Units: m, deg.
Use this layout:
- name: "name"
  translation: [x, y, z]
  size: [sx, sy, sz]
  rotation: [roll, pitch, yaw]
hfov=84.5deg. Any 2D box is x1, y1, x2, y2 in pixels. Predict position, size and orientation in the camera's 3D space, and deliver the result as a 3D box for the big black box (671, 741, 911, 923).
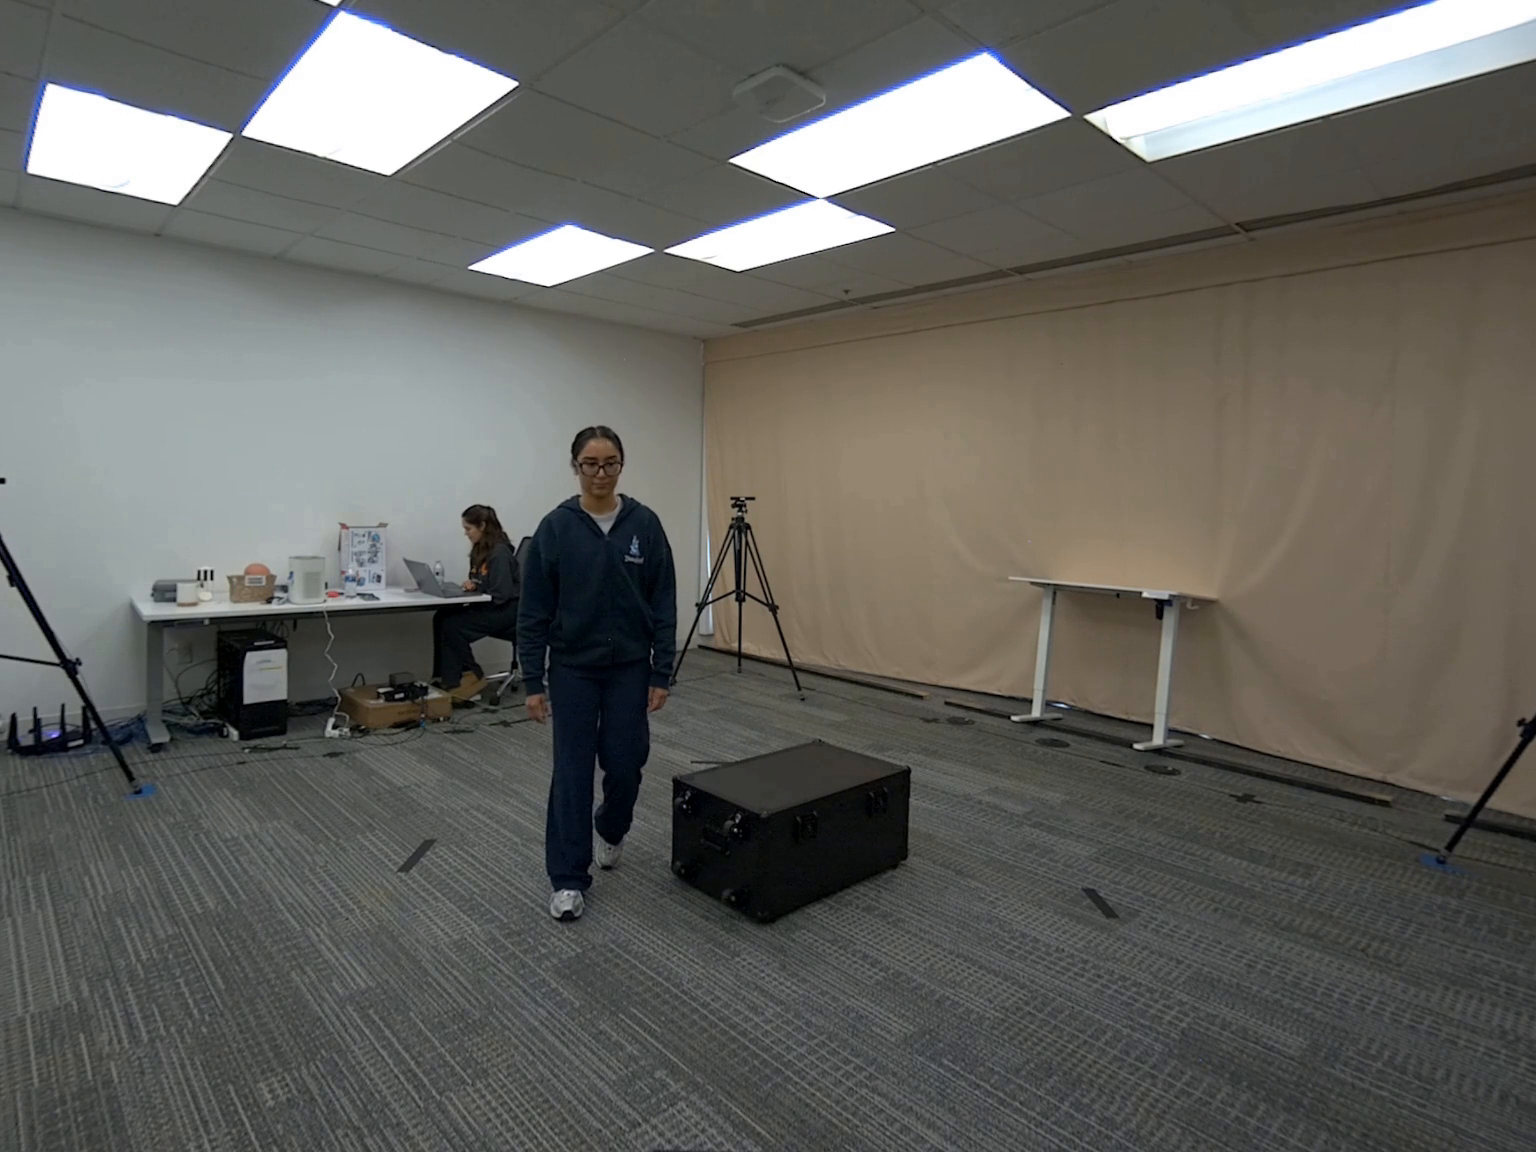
- name: "big black box"
  translation: [0.067, 0.919, 3.128]
  size: [0.842, 0.395, 0.534]
  rotation: [-3, 6, -44]
